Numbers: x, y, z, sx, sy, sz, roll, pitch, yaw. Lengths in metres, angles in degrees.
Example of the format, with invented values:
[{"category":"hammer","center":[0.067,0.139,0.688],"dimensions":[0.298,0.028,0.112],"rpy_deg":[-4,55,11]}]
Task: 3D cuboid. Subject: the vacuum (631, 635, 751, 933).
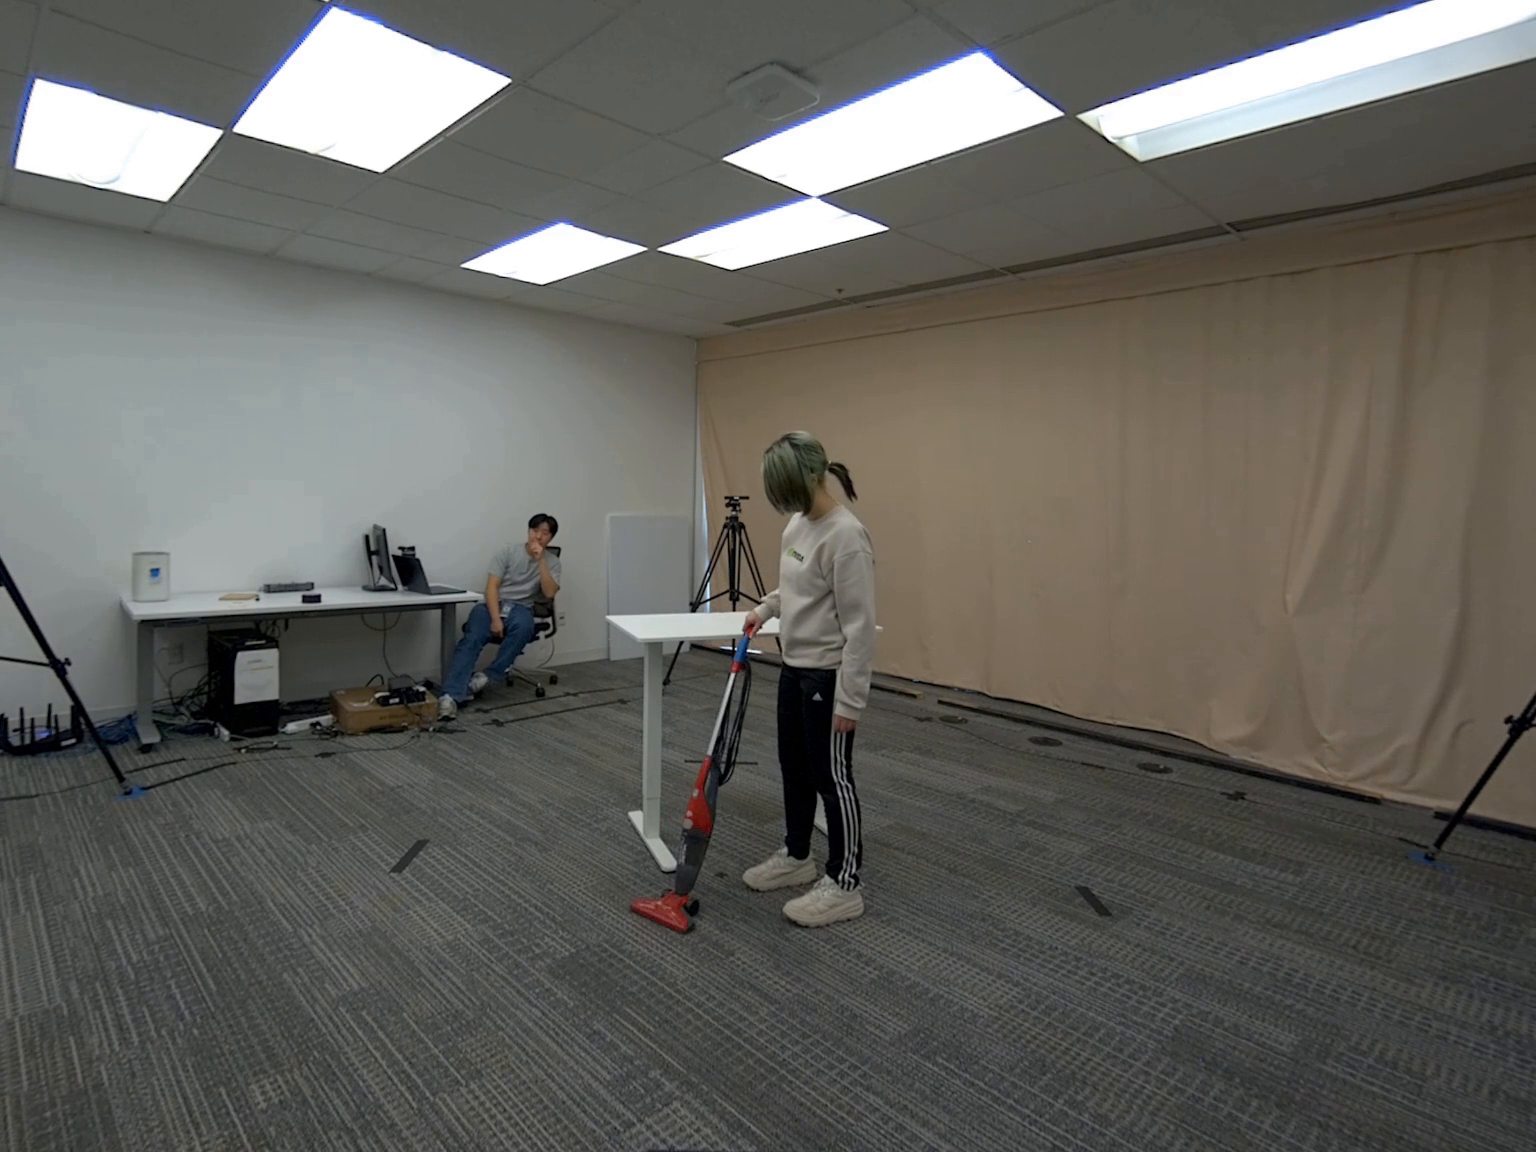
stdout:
[{"category":"vacuum","center":[-0.182,0.645,2.938],"dimensions":[0.259,1.057,0.139],"rpy_deg":[5,-21,37]}]
